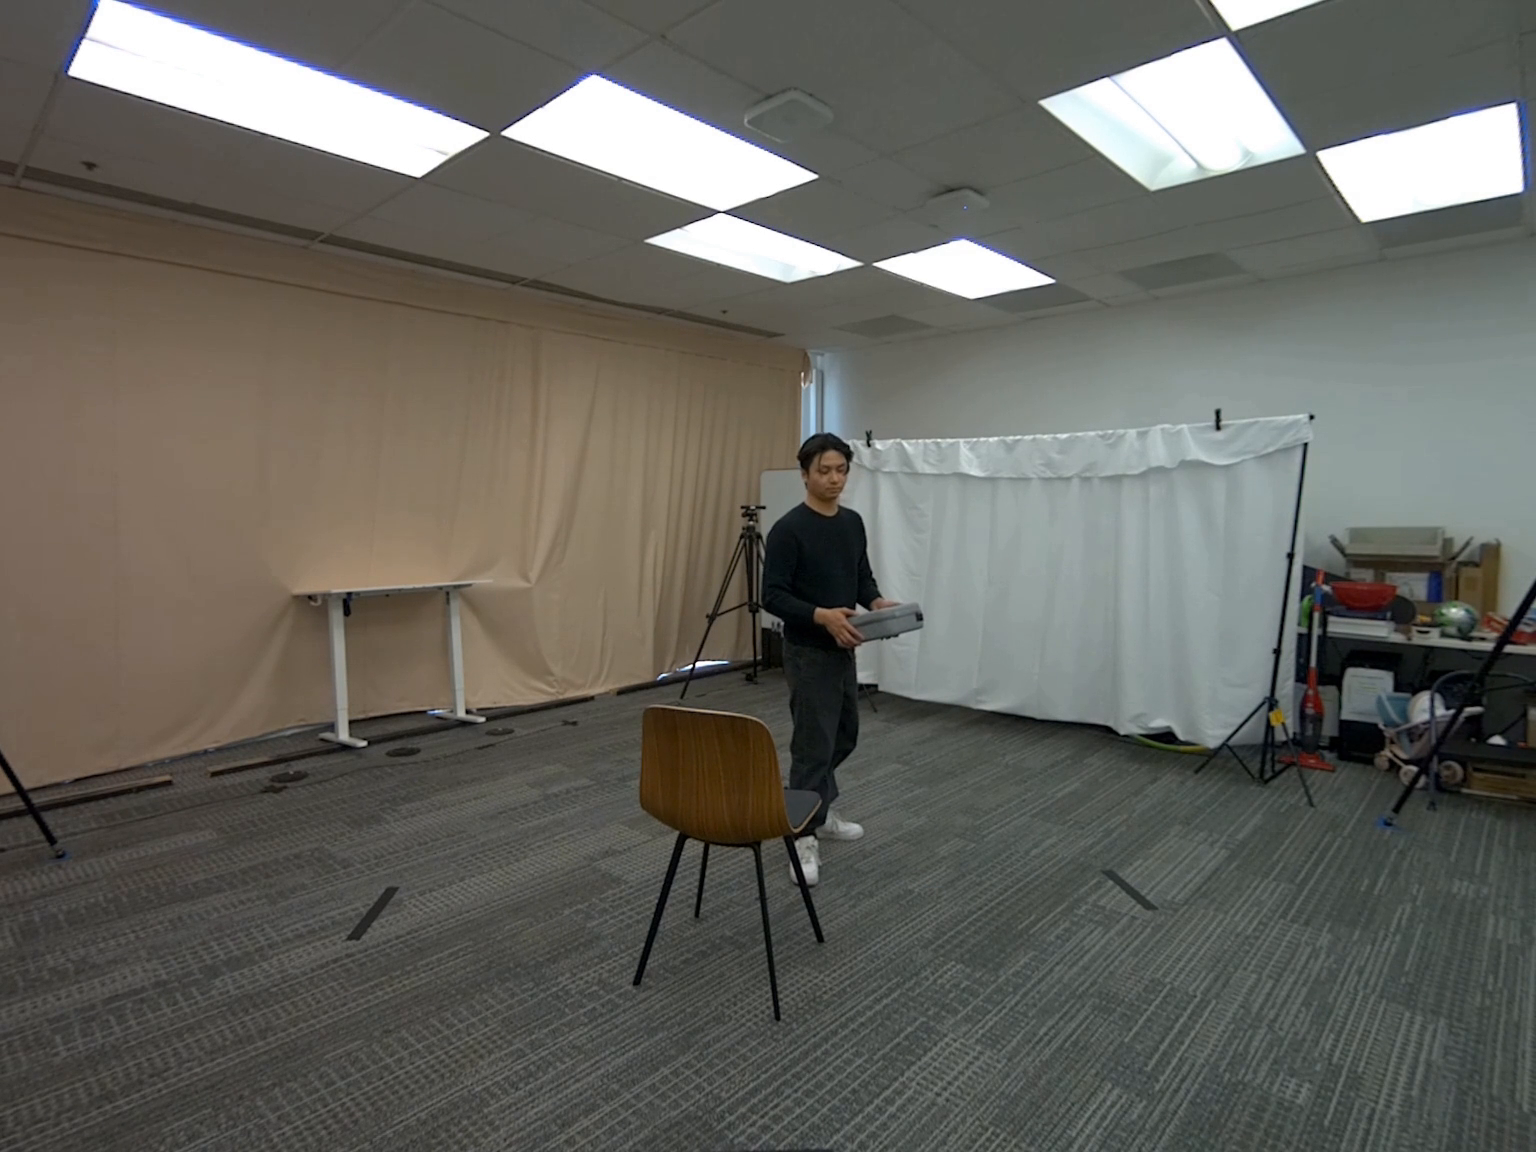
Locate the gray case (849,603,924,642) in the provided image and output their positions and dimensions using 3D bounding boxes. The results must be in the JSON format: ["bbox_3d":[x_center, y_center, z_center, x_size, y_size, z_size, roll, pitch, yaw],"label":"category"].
[{"bbox_3d":[0.417,0.178,3.098,0.267,0.105,0.249,-17,-5,37],"label":"gray case"}]
